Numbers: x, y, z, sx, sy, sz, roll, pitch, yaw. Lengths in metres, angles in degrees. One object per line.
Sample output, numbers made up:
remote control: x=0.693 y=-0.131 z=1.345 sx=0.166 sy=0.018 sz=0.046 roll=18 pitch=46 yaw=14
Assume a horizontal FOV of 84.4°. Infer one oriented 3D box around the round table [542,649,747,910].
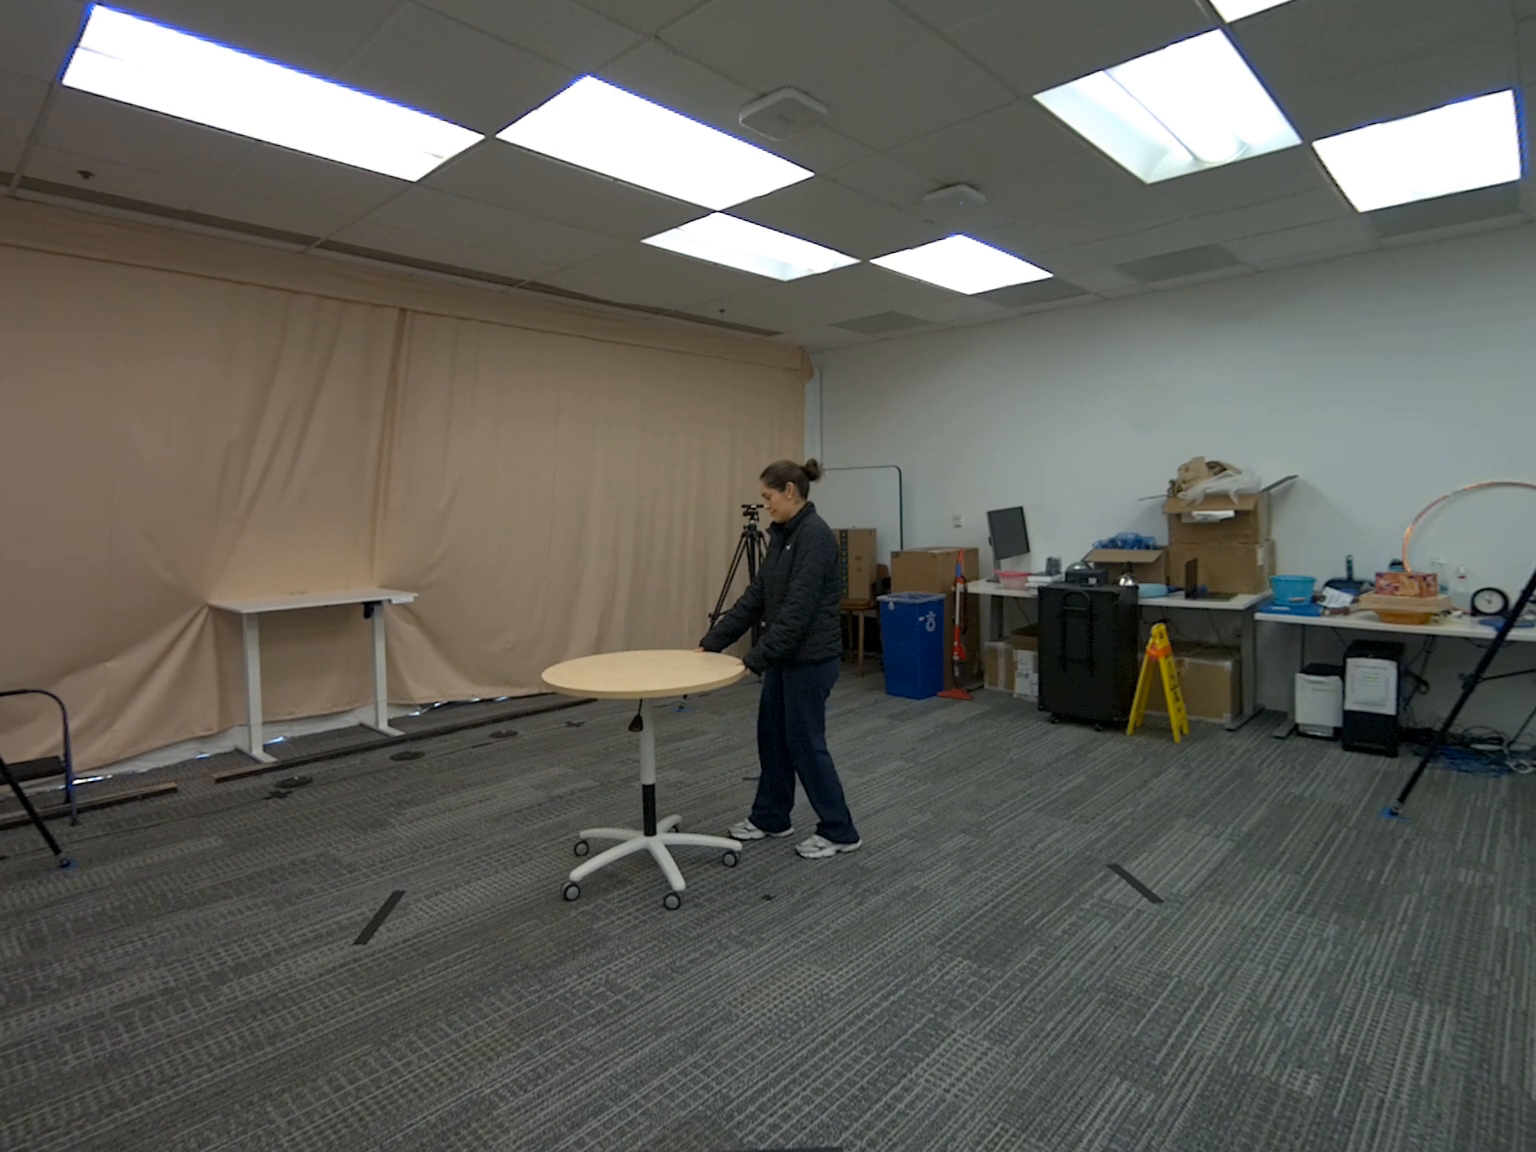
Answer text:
round table: x=-0.435 y=0.738 z=3.205 sx=0.784 sy=0.785 sz=0.788 roll=-2 pitch=4 yaw=-2
